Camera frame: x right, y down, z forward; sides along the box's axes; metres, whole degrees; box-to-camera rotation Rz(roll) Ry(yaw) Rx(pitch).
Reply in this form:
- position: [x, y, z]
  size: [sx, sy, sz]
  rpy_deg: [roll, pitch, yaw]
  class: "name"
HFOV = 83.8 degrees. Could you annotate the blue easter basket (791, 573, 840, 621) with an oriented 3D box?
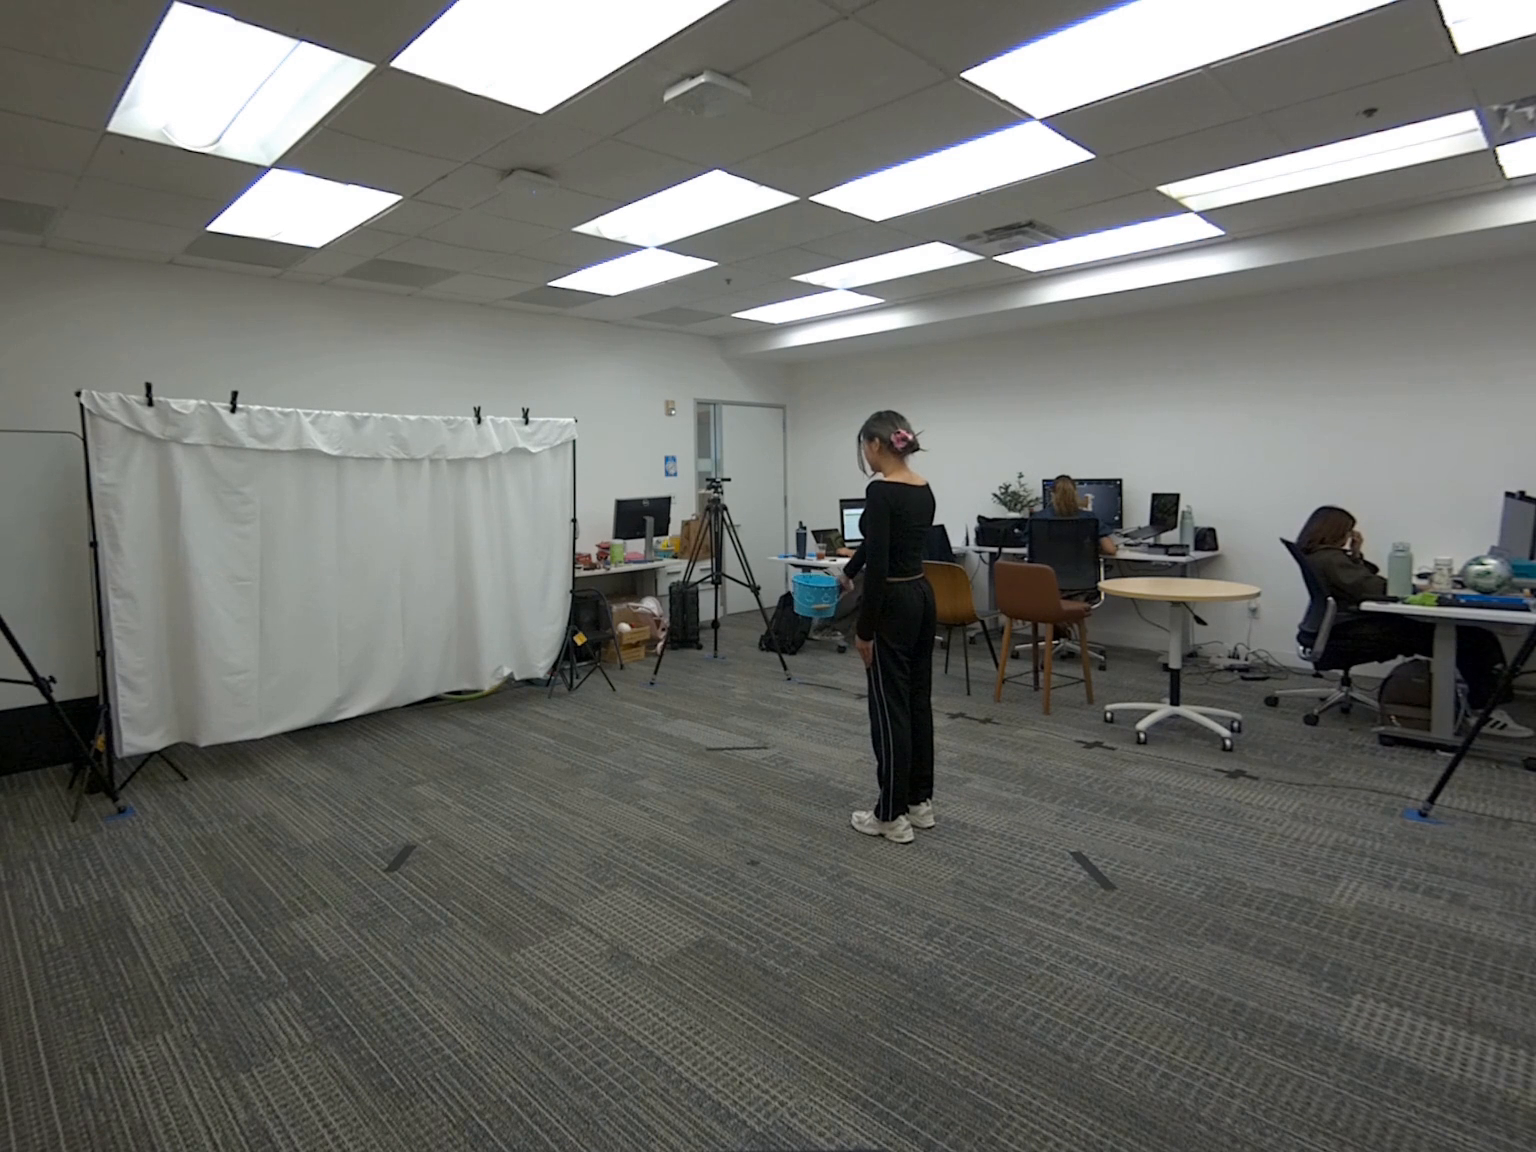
- position: [0.222, 0.099, 3.863]
  size: [0.243, 0.155, 0.246]
  rpy_deg: [2, 10, -2]
  class: "blue easter basket"
